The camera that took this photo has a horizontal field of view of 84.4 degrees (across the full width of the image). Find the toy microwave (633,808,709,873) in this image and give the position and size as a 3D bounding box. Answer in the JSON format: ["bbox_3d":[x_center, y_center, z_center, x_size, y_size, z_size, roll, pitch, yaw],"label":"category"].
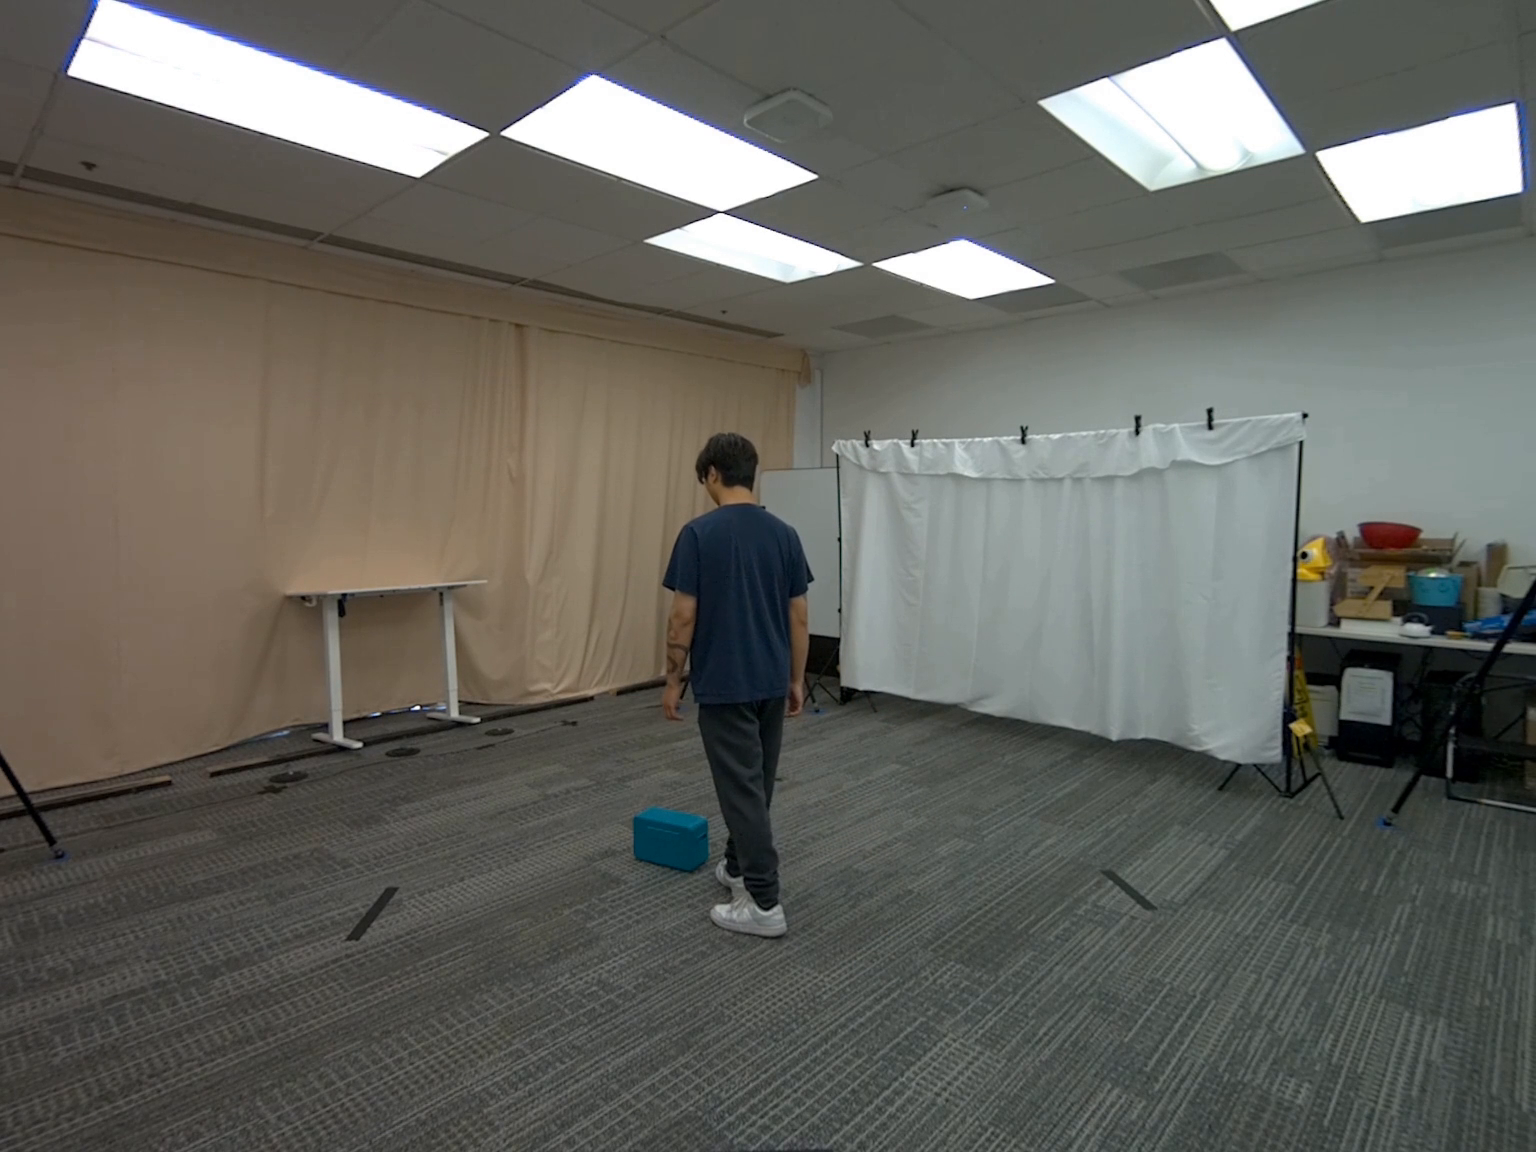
[{"bbox_3d":[-0.375,1.027,3.309,0.294,0.184,0.148,1,3,29],"label":"toy microwave"}]
